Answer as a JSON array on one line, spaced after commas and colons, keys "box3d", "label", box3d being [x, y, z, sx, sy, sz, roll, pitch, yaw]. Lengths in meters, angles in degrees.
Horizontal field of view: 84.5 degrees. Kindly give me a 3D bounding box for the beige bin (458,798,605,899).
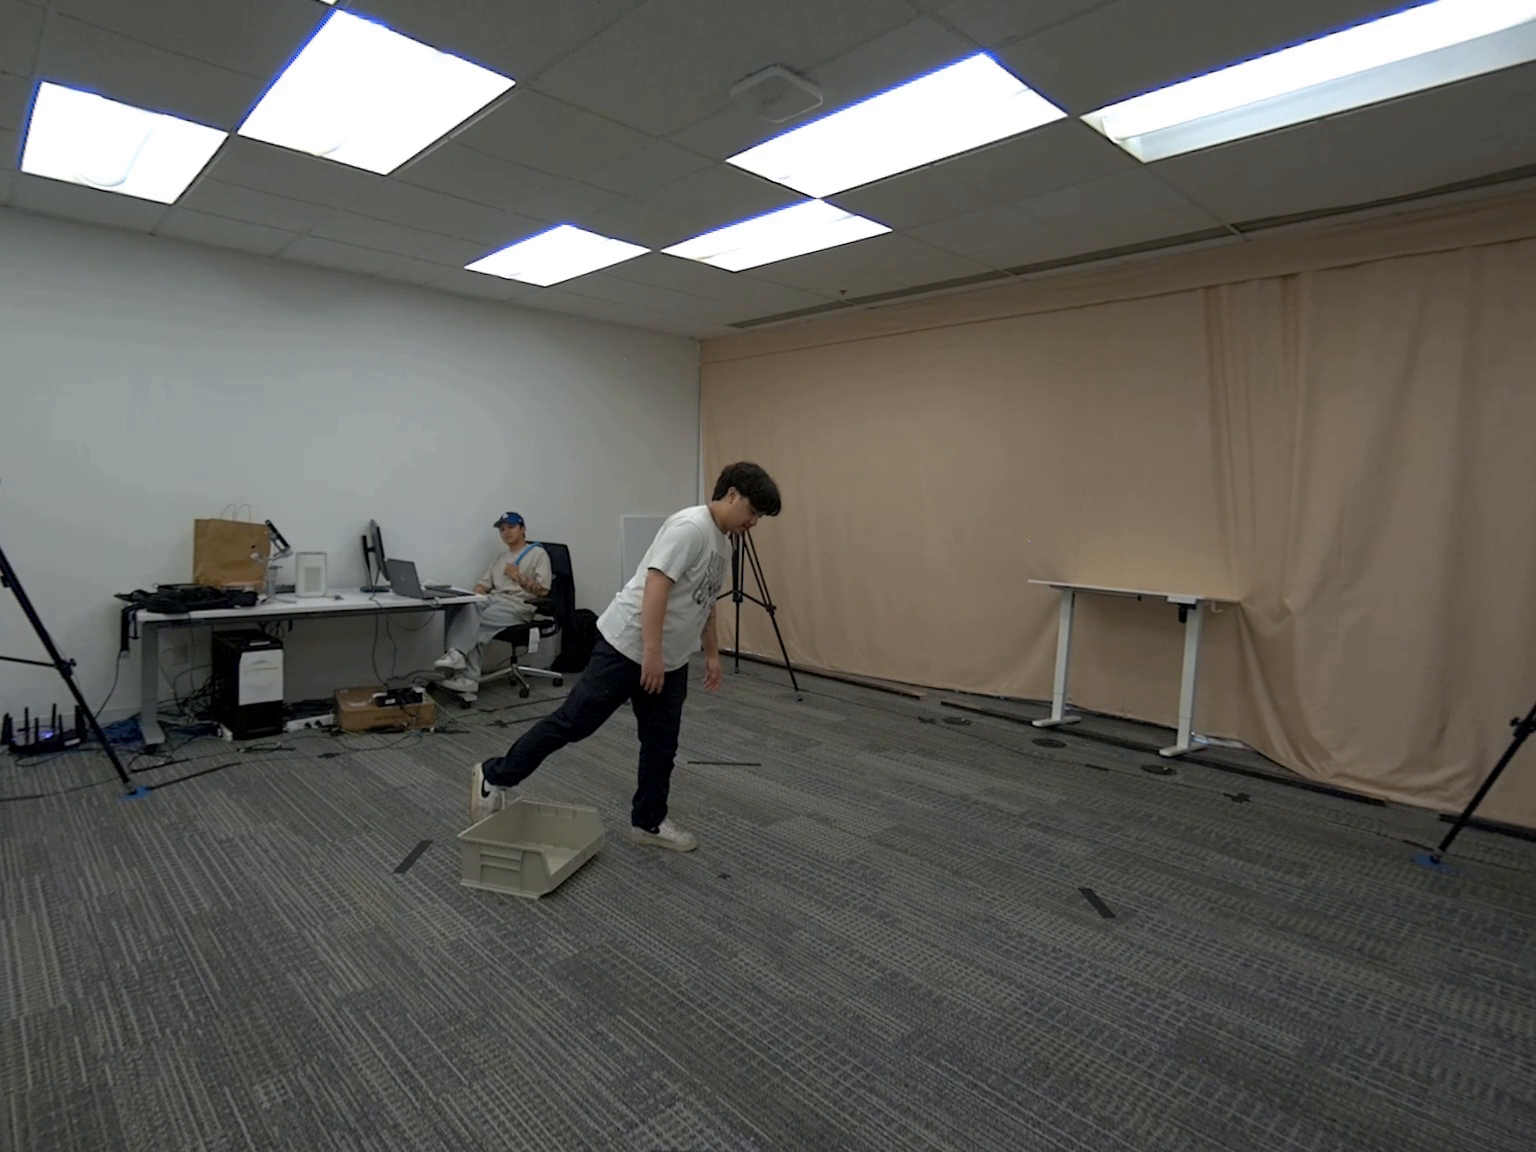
[{"box3d": [-0.873, 1.002, 3.120, 0.382, 0.188, 0.418, 2, 5, 16], "label": "beige bin"}]
